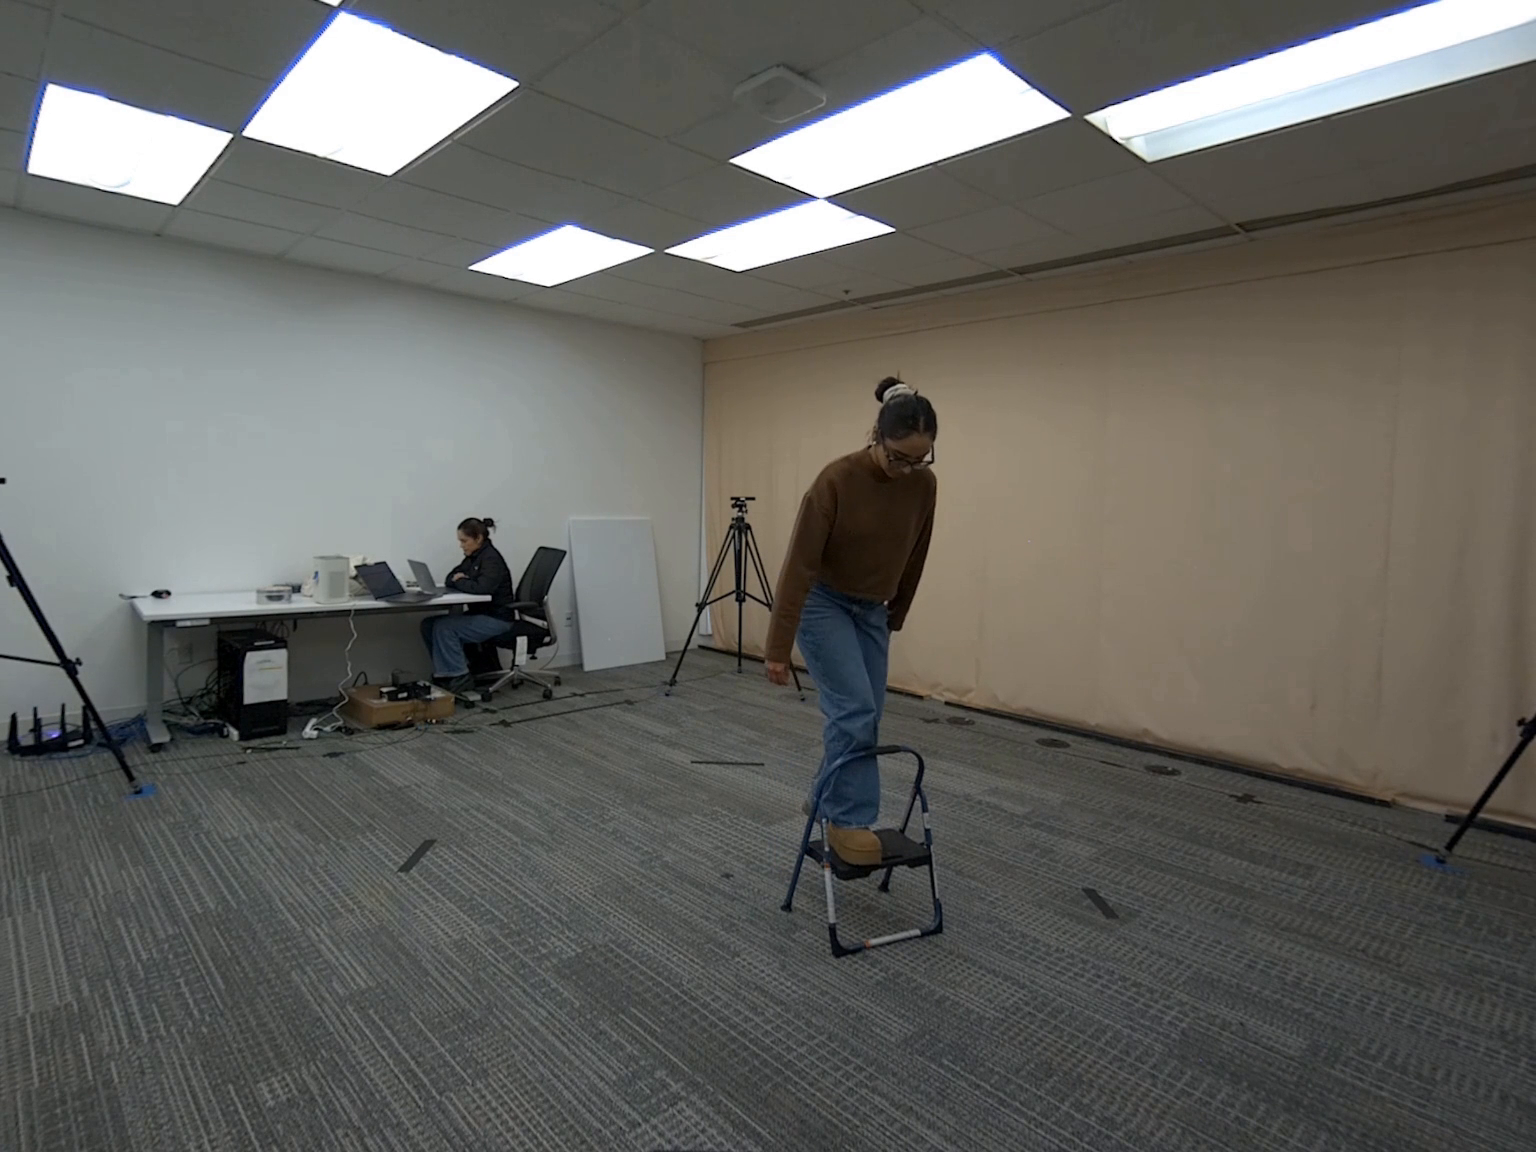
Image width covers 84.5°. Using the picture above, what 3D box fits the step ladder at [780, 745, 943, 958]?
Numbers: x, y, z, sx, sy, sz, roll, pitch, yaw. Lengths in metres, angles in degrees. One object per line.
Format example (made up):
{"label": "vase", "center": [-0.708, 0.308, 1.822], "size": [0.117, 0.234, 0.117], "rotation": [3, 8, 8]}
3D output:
{"label": "step ladder", "center": [0.314, 0.845, 2.782], "size": [0.422, 0.604, 0.357], "rotation": [0, 4, -27]}
